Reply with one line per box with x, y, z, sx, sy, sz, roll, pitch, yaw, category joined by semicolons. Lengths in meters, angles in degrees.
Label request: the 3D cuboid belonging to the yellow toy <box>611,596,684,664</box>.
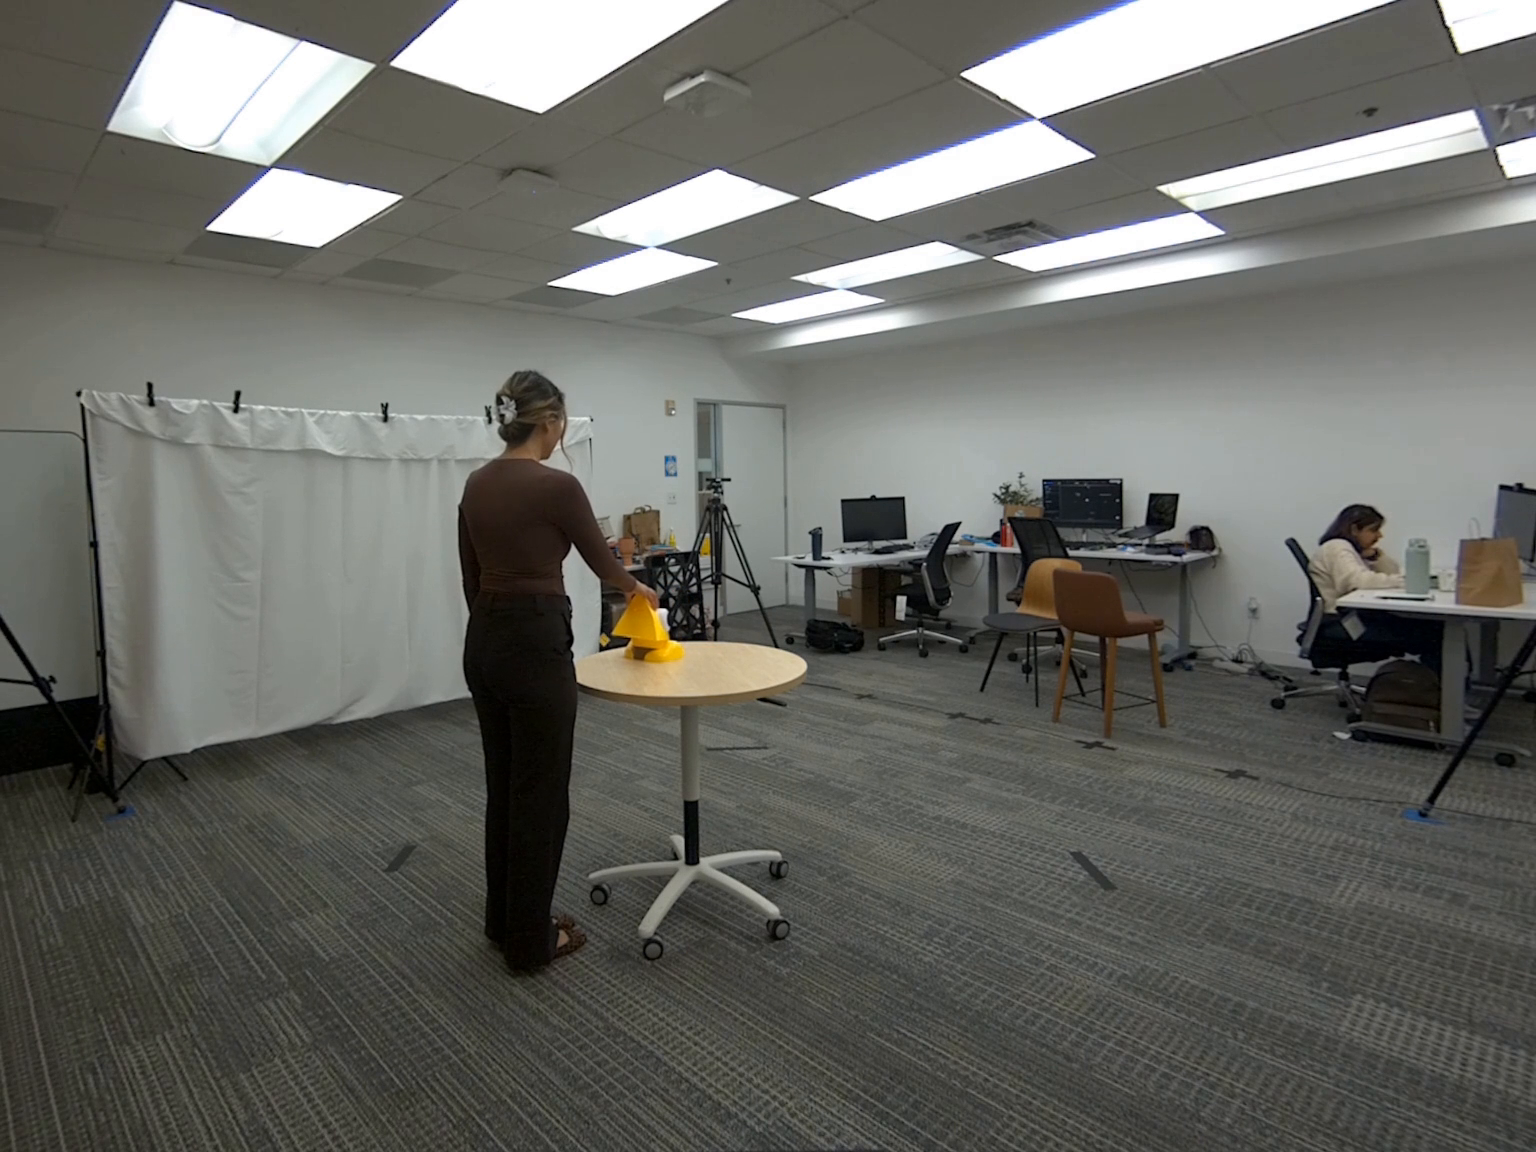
-0.391;0.159;2.896;0.210;0.230;0.188;3;6;34;yellow toy
